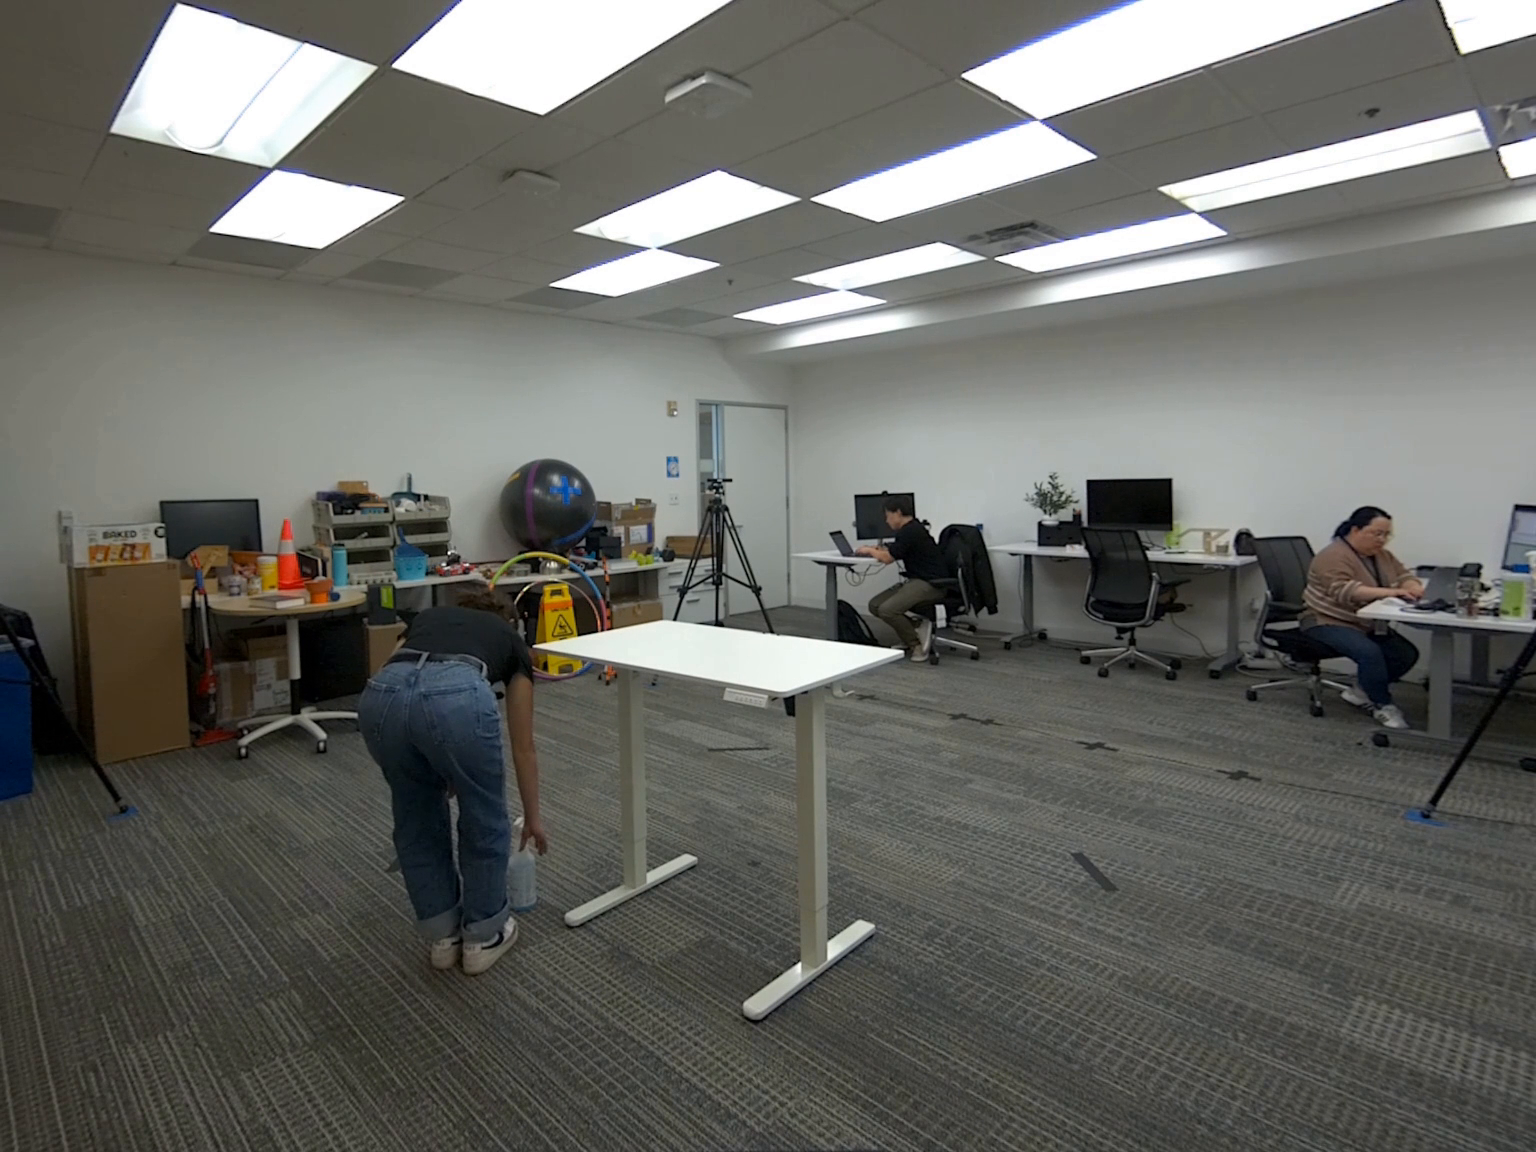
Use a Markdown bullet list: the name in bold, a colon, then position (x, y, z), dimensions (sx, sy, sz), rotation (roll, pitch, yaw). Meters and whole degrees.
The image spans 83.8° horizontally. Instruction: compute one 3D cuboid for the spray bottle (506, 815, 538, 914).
- **spray bottle**: position (-0.812, 0.949, 2.821), dimensions (0.089, 0.296, 0.088), rotation (1, 5, 25)
